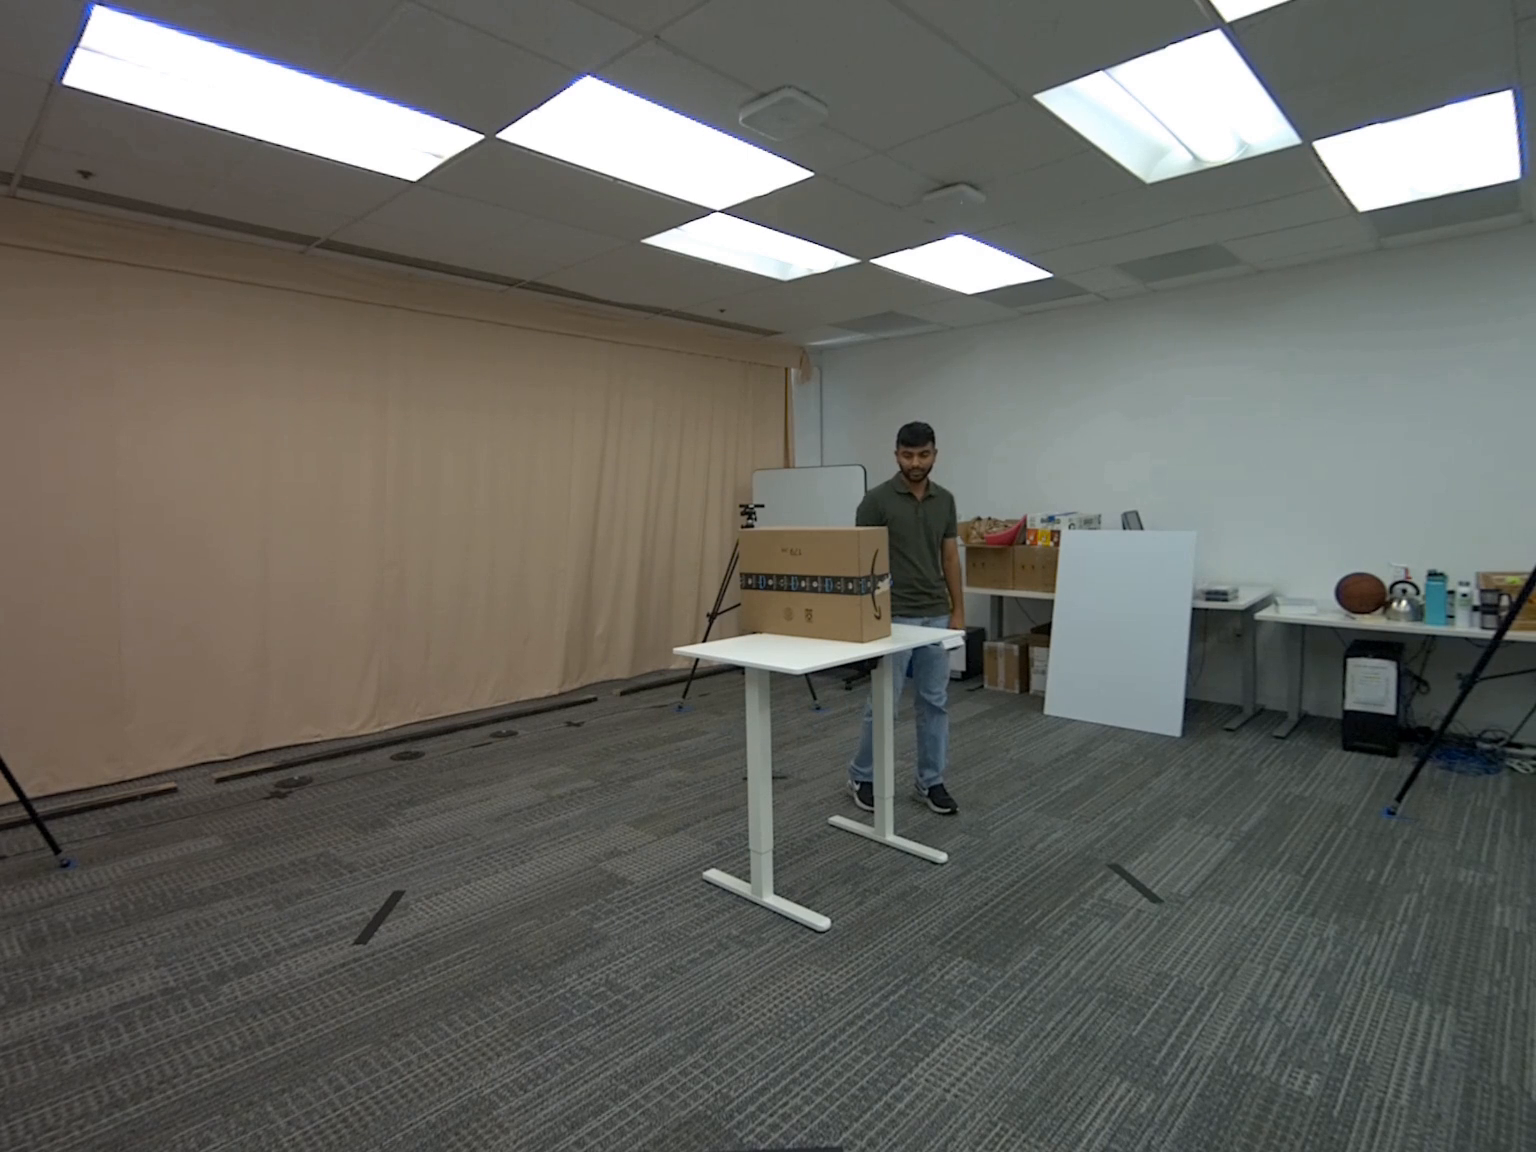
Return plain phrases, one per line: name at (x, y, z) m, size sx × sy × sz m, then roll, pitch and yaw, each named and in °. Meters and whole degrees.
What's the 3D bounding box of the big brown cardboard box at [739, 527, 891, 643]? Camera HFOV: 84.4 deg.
big brown cardboard box at (0.176, 0.022, 3.309) m, size 0.608 × 0.416 × 0.226 m, roll 3°, pitch 6°, yaw 40°
